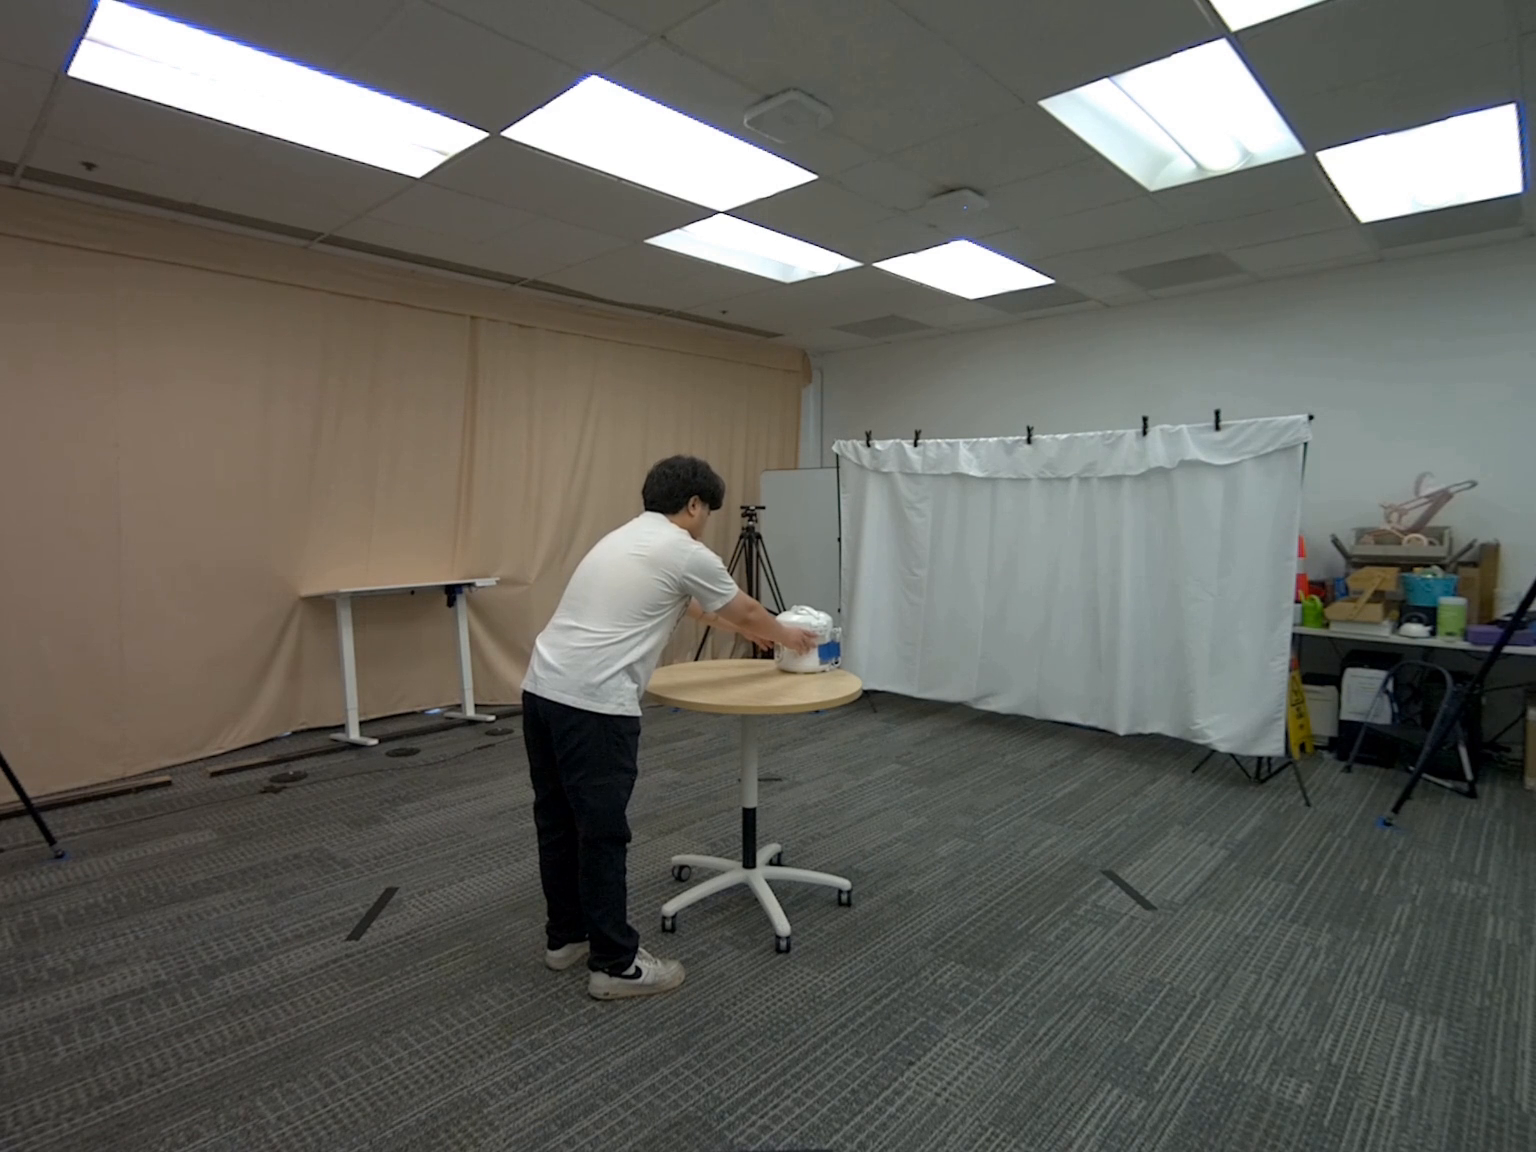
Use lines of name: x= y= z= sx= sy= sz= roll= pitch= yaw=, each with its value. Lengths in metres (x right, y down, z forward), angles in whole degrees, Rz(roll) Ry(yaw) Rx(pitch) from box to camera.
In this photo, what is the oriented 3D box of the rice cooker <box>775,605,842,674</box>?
rice cooker: x=0.133 y=0.226 z=3.062 sx=0.212 sy=0.232 sz=0.227 roll=-1 pitch=3 yaw=-28
